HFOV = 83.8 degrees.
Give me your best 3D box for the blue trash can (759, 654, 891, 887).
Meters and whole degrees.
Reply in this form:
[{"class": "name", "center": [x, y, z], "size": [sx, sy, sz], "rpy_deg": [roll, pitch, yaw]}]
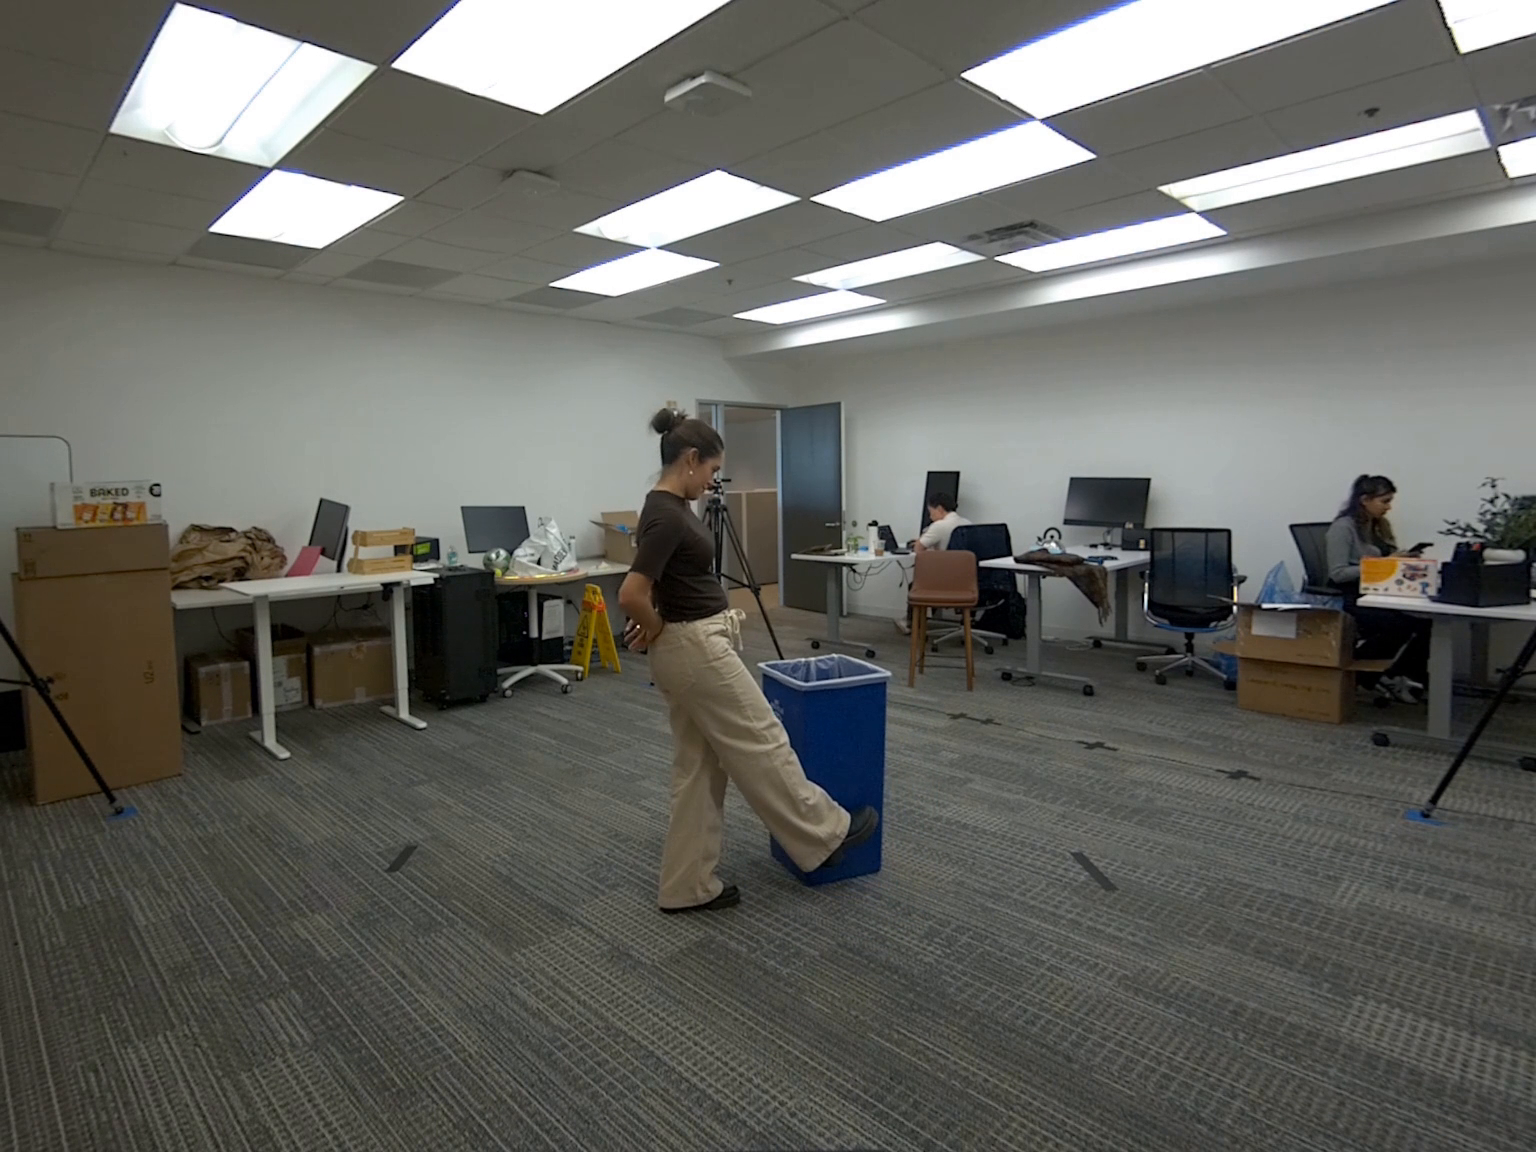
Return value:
[{"class": "blue trash can", "center": [0.201, 0.683, 3.080], "size": [0.366, 0.711, 0.387], "rpy_deg": [-3, 4, -25]}]
